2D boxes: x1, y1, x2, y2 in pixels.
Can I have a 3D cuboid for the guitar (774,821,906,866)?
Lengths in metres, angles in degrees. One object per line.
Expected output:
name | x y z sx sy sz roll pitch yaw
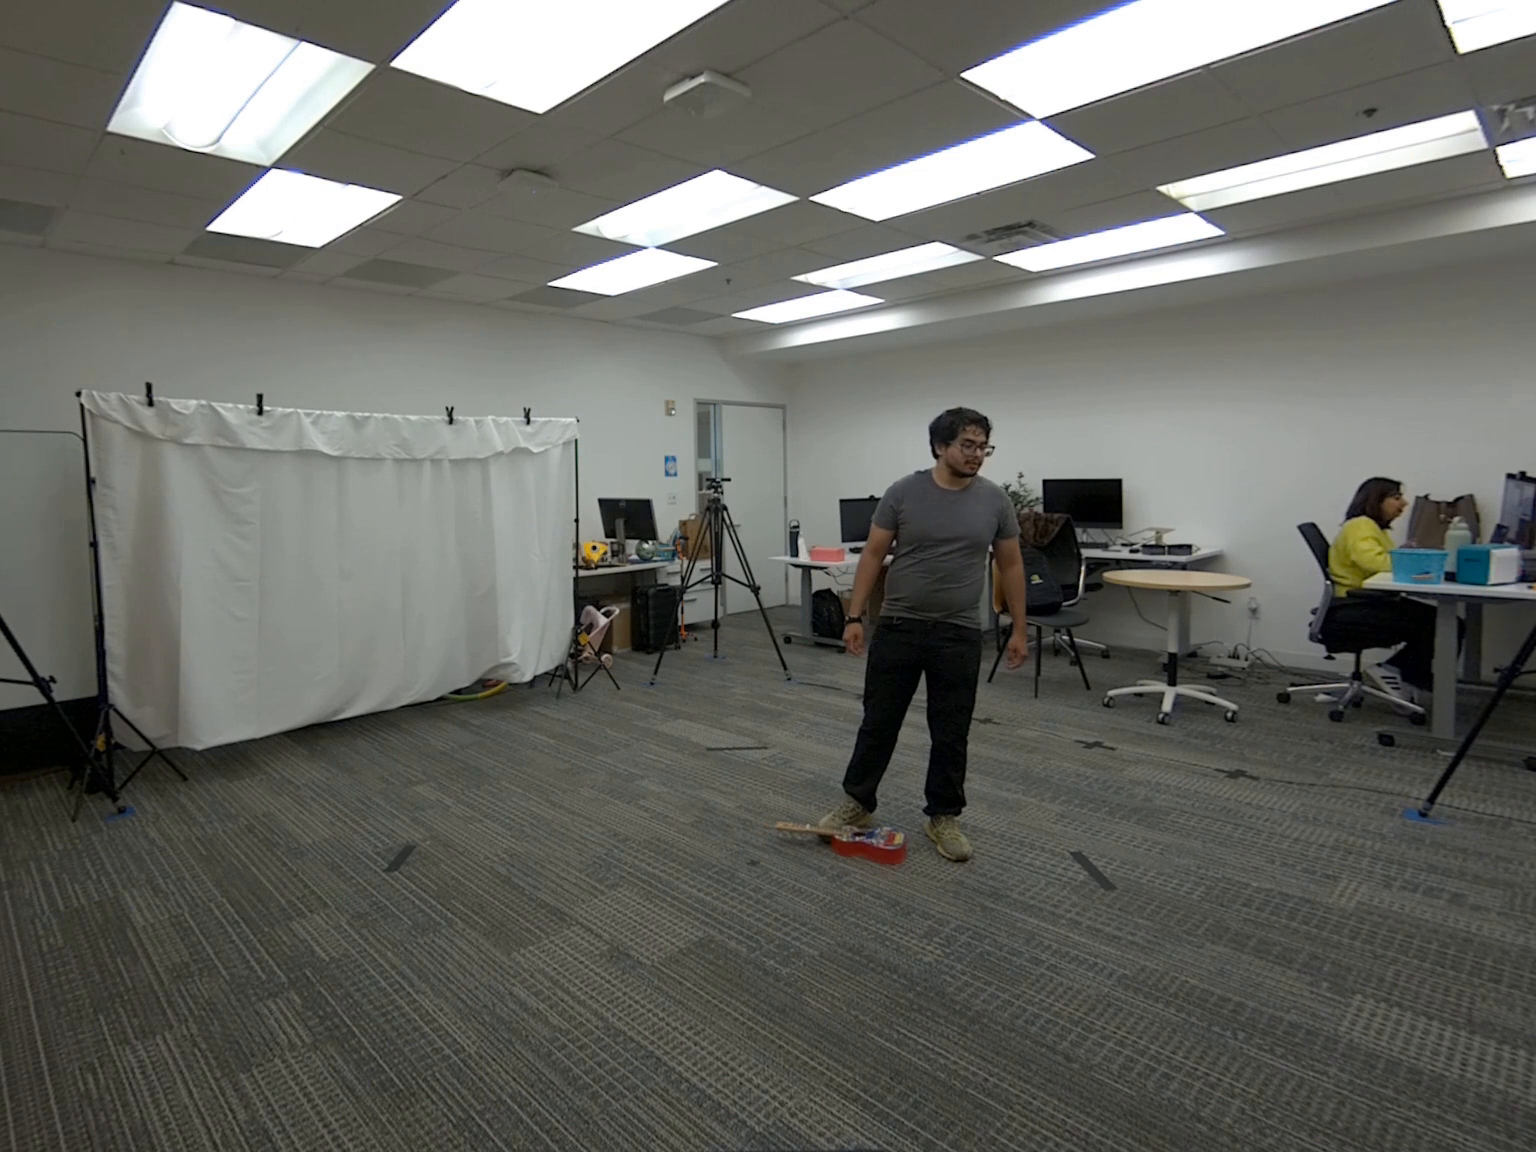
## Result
guitar | 0.286 0.989 3.241 0.510 0.070 0.189 2 7 26
